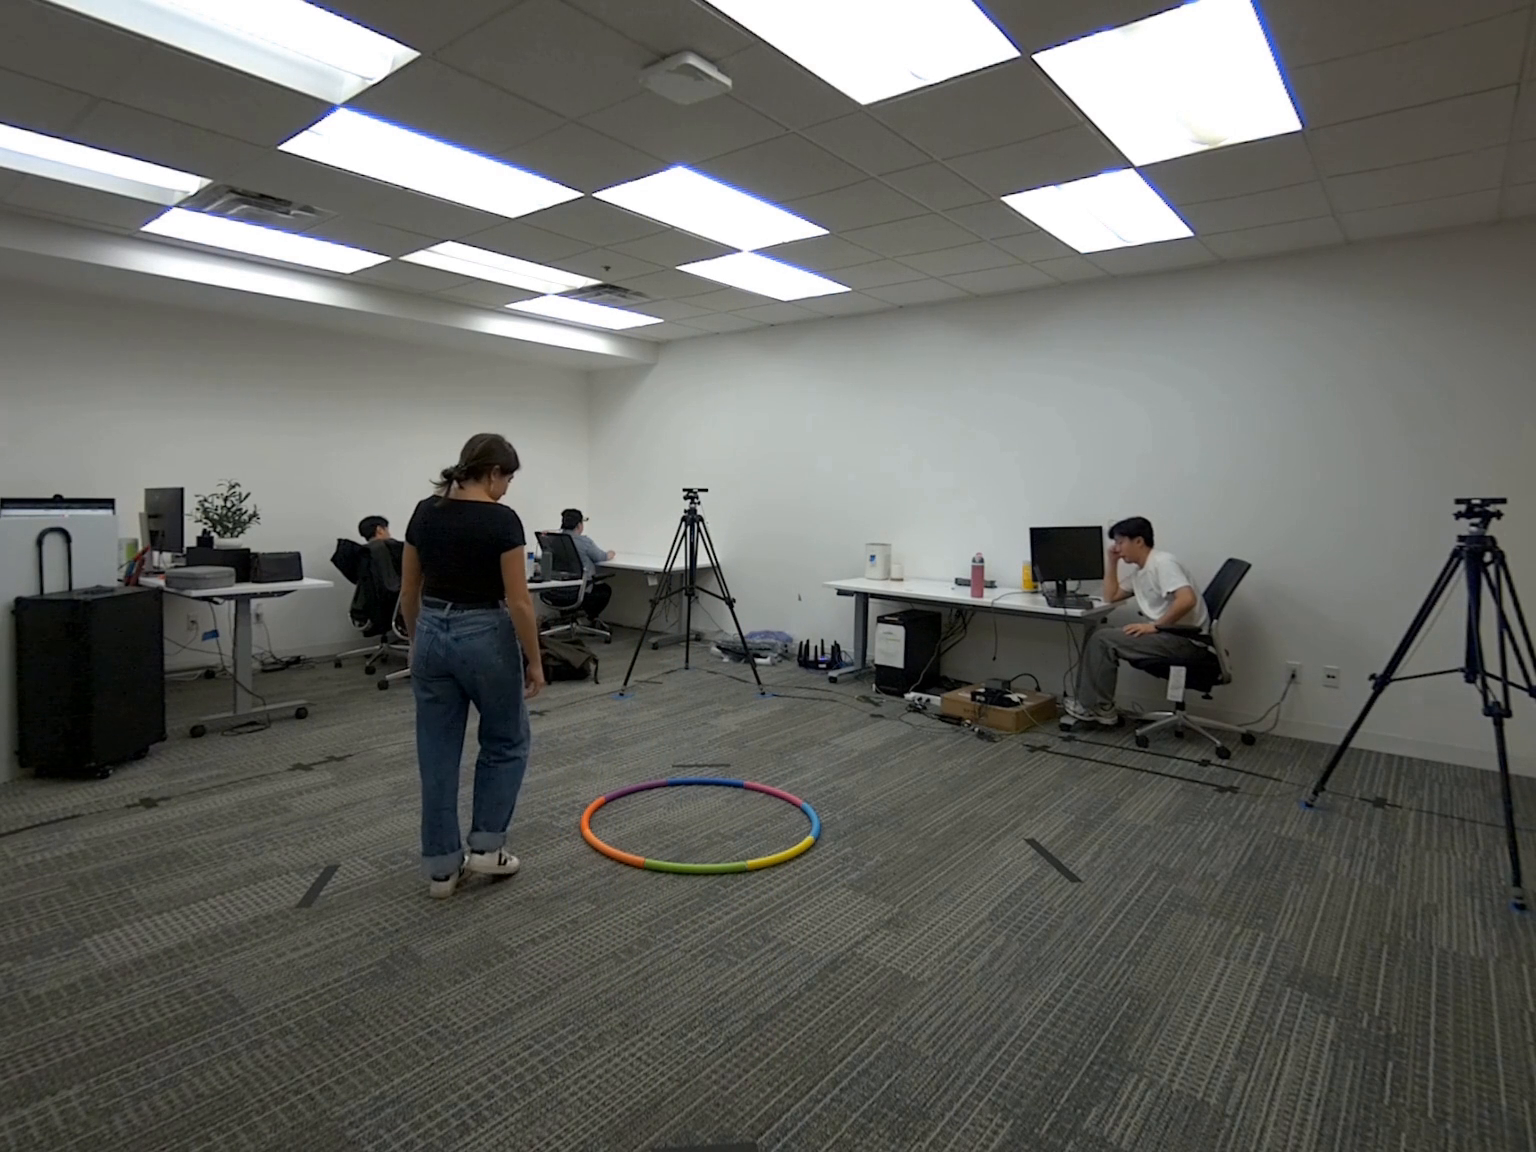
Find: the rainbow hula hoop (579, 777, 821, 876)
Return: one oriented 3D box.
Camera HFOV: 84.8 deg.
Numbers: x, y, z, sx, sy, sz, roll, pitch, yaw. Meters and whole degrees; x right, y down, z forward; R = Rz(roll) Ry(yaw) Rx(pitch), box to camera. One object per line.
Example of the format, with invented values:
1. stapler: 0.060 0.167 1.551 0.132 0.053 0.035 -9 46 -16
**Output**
1. rainbow hula hoop: -0.278 0.991 3.535 0.978 0.035 0.984 1 6 -2
